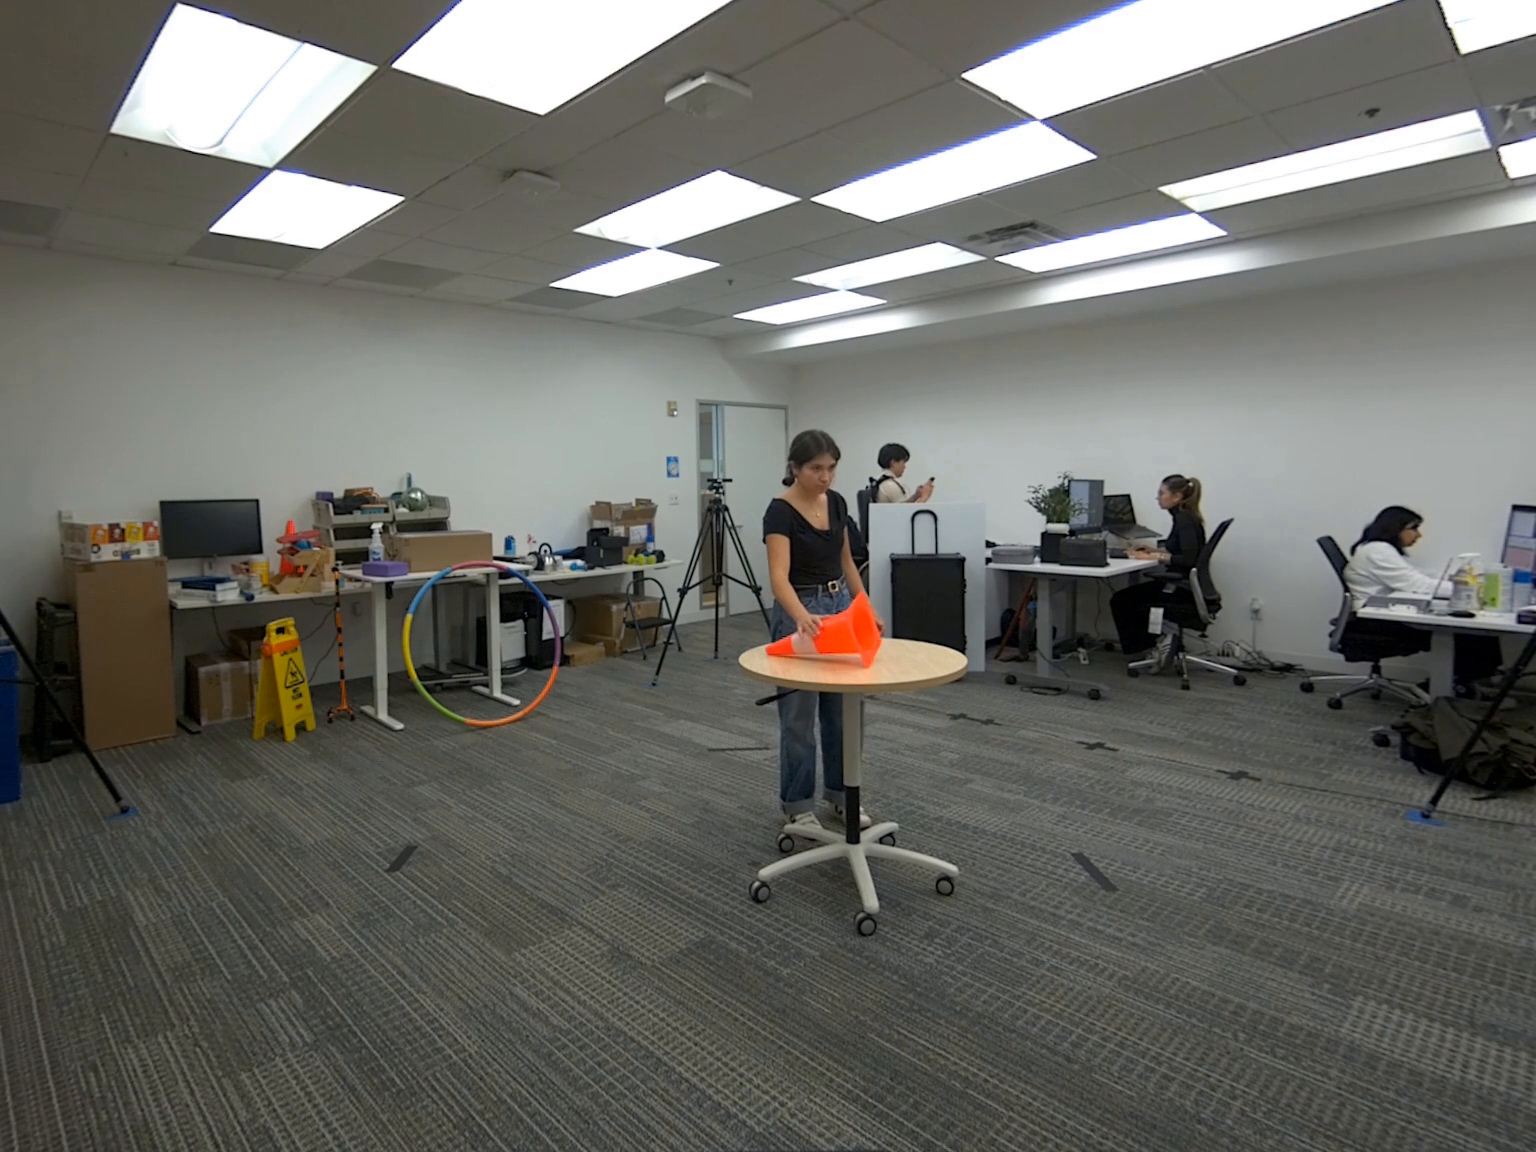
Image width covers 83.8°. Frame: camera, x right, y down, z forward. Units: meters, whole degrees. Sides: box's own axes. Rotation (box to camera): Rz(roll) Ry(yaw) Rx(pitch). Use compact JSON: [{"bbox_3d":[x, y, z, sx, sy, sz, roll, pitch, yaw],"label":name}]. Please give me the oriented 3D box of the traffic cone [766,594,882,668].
[{"bbox_3d":[0.163,0.227,2.902,0.390,0.202,0.203,-17,16,32],"label":"traffic cone"}]
